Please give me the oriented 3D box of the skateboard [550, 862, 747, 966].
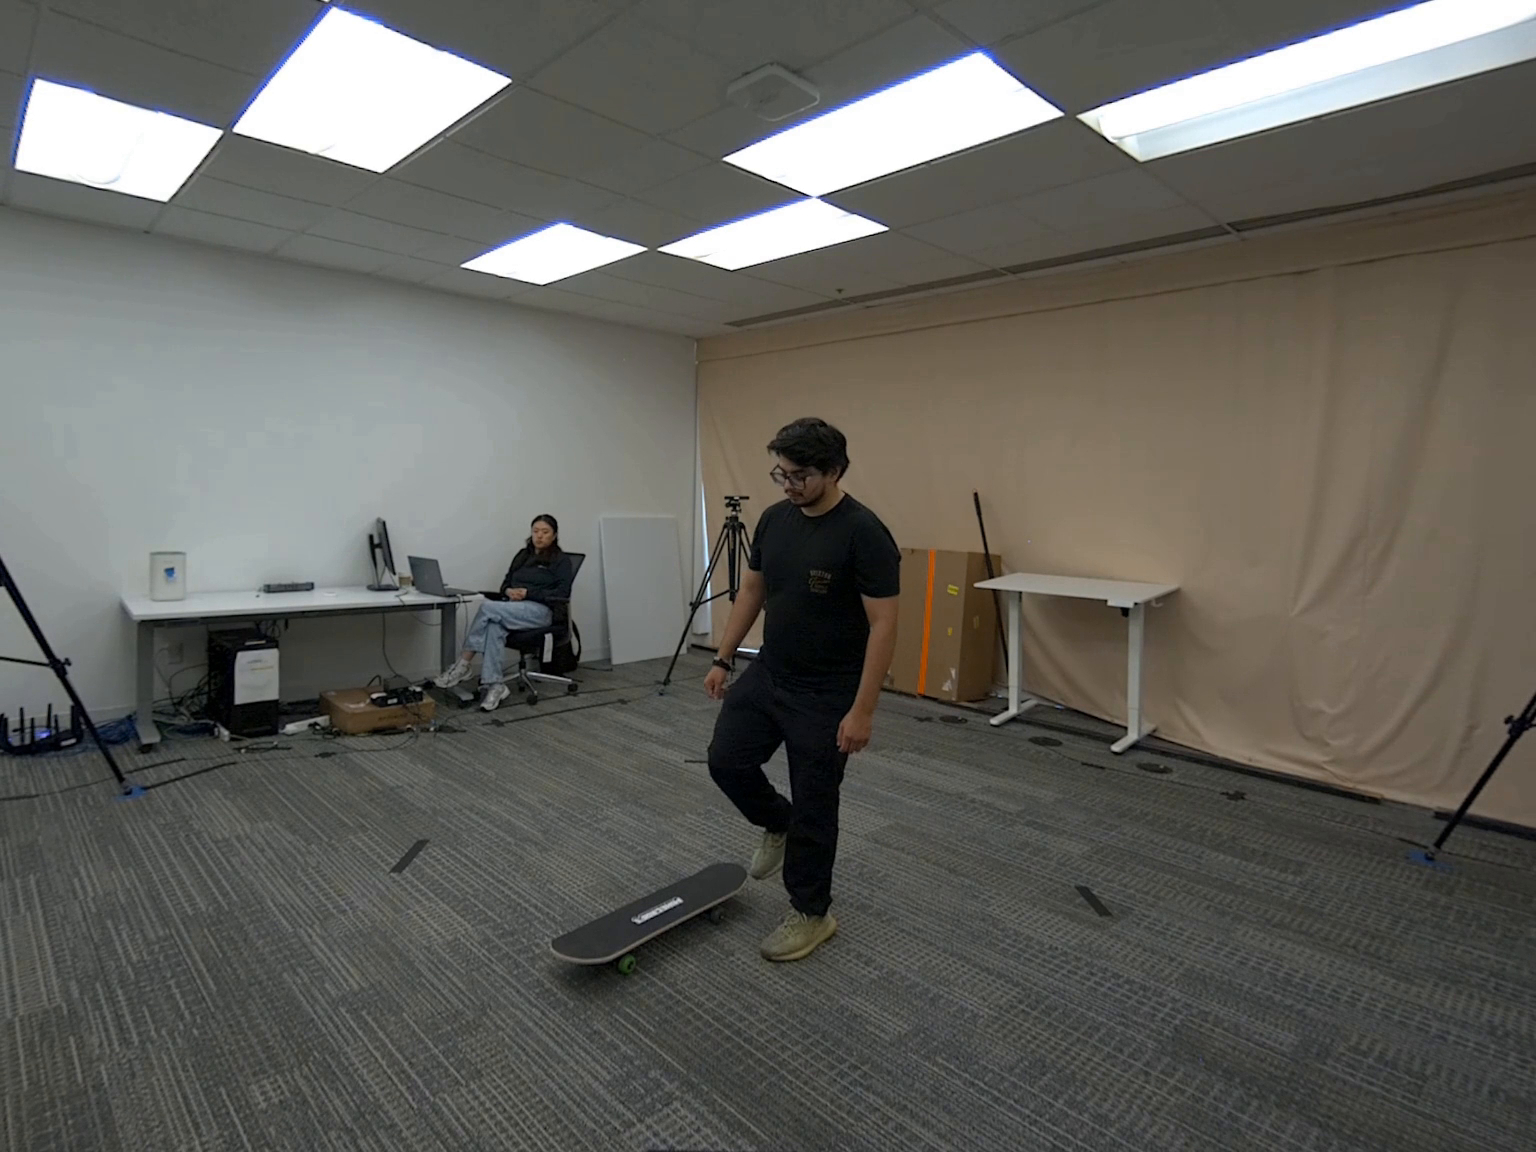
[{"bbox_3d":[-0.351,1.084,2.647,0.198,0.110,0.768,4,5,39],"label":"skateboard"}]
